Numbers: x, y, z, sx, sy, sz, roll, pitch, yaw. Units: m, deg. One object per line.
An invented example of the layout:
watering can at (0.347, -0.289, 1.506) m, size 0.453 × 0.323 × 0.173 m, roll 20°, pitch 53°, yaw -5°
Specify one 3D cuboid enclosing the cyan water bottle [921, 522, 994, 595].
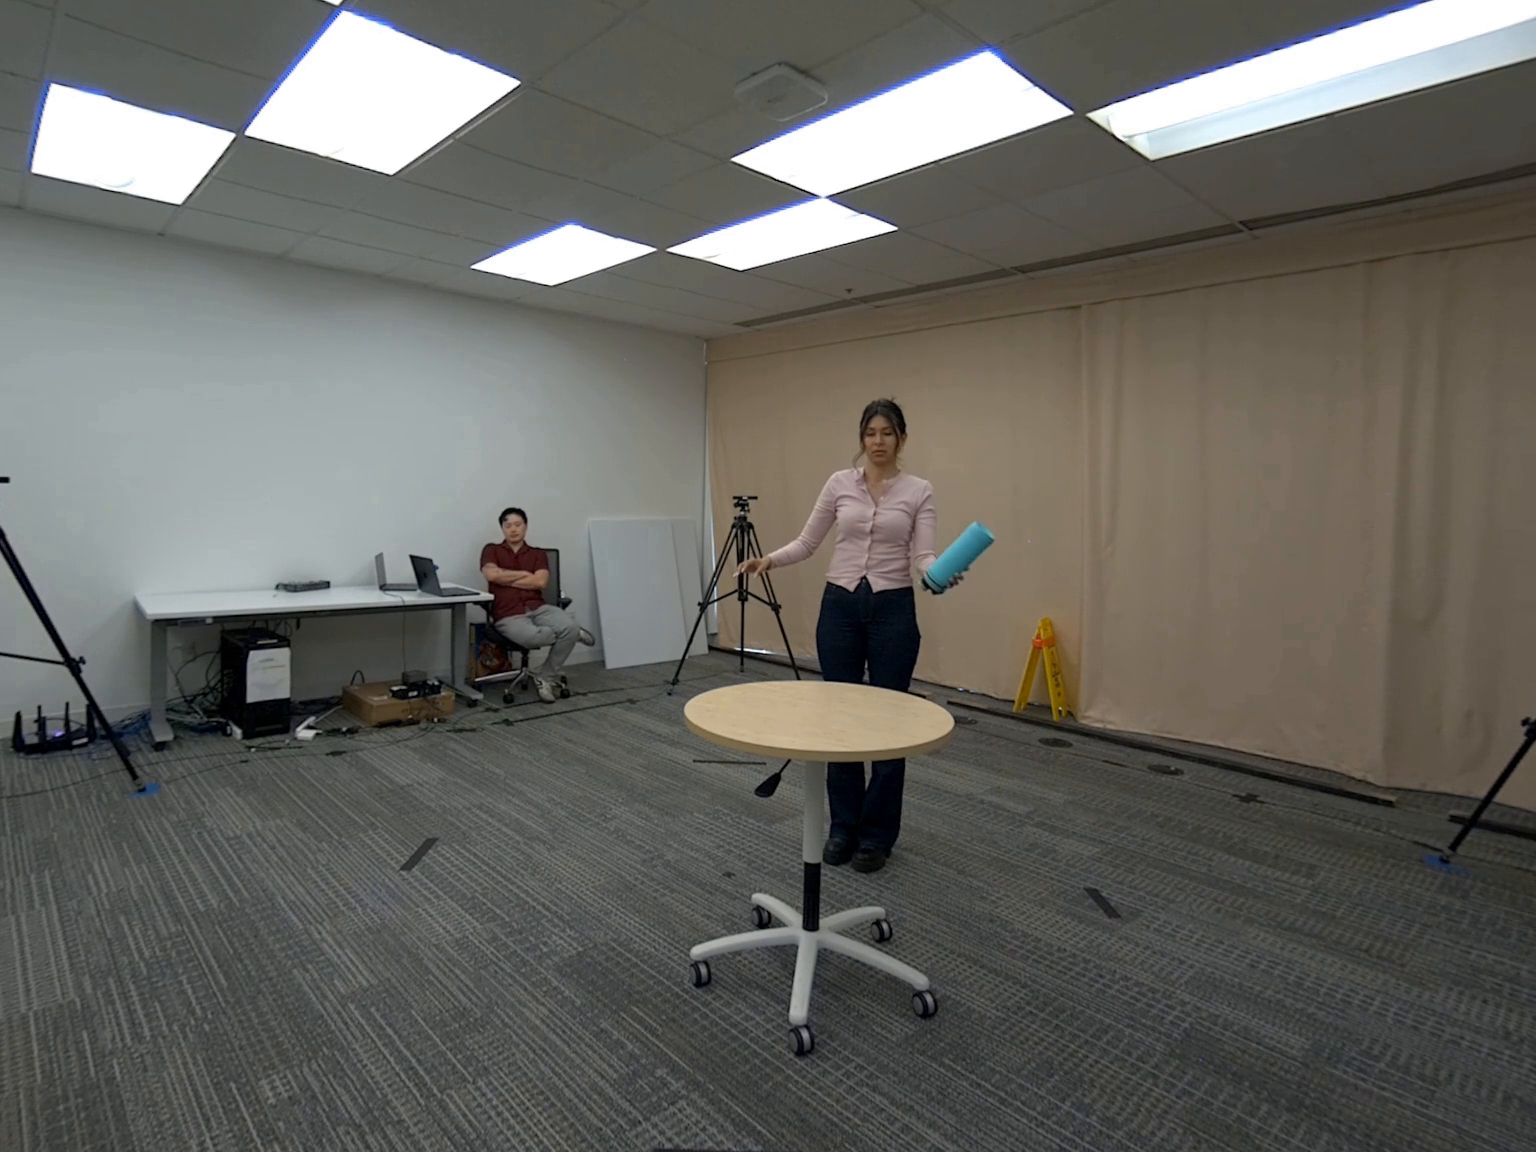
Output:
cyan water bottle at (0.609, -0.051, 2.762) m, size 0.091 × 0.283 × 0.094 m, roll 35°, pitch 20°, yaw -17°
